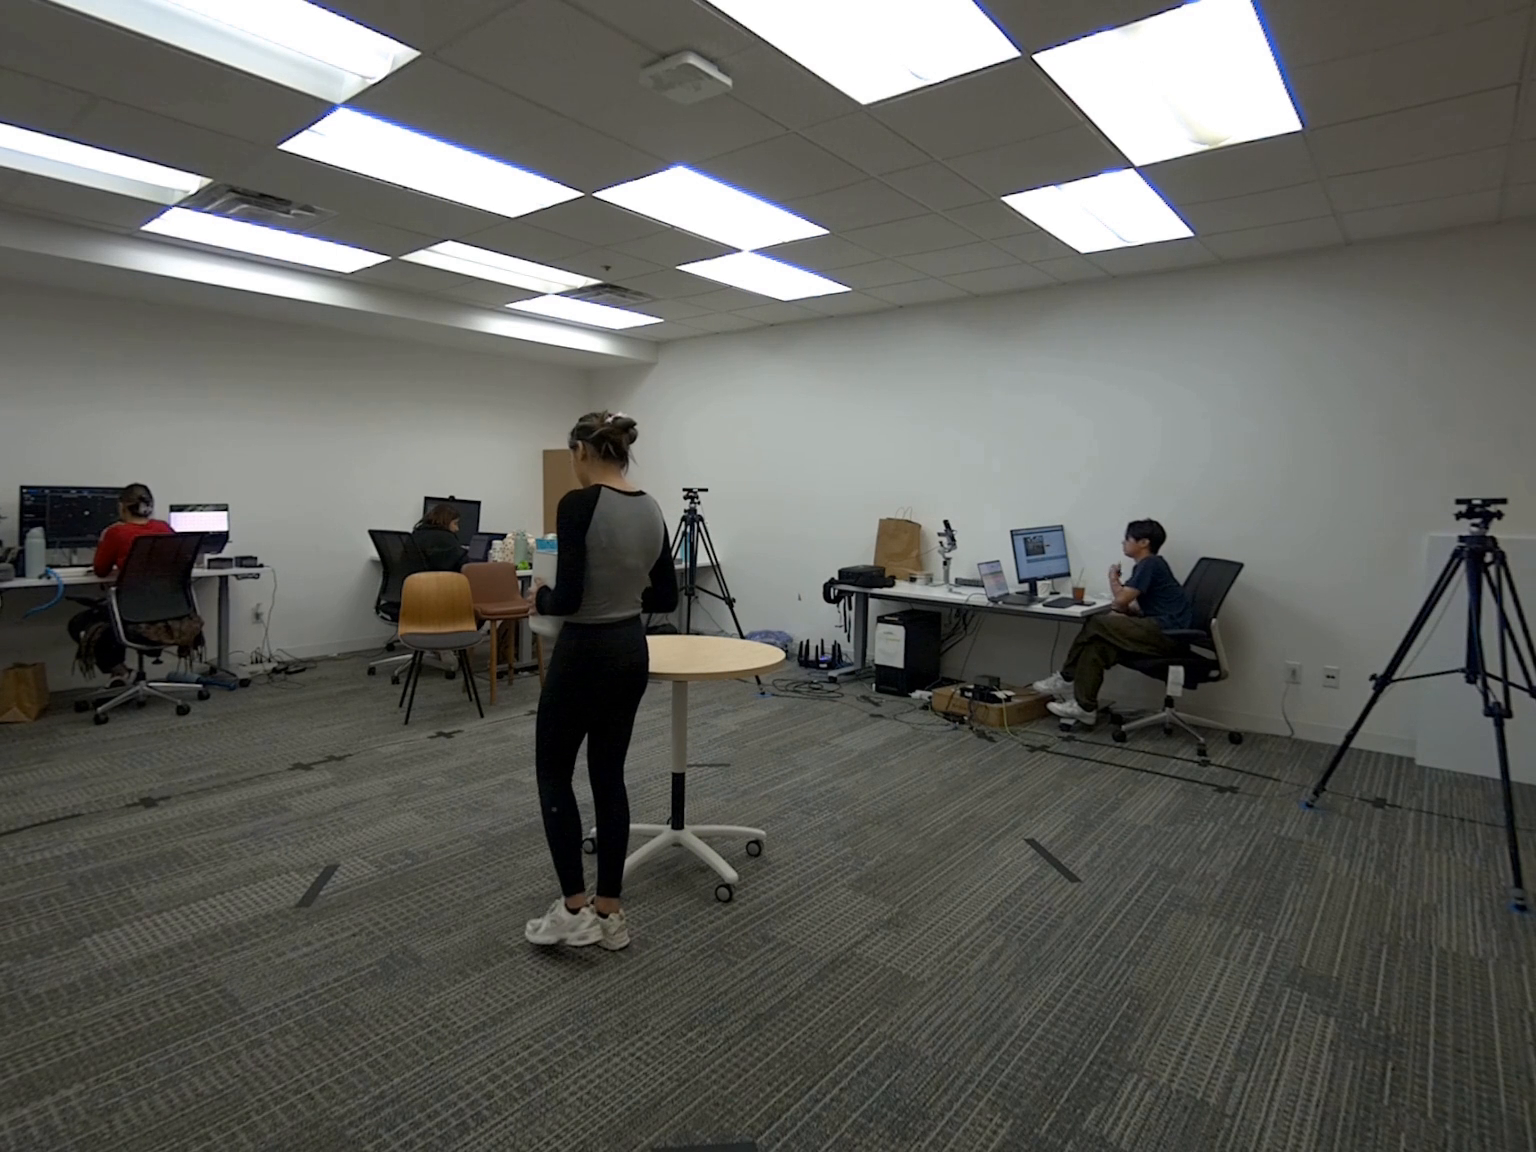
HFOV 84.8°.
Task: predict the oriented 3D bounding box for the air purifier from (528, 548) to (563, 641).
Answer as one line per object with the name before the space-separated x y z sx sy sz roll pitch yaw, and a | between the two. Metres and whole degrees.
air purifier | -0.668 0.054 2.739 0.177 0.265 0.166 7 2 44
